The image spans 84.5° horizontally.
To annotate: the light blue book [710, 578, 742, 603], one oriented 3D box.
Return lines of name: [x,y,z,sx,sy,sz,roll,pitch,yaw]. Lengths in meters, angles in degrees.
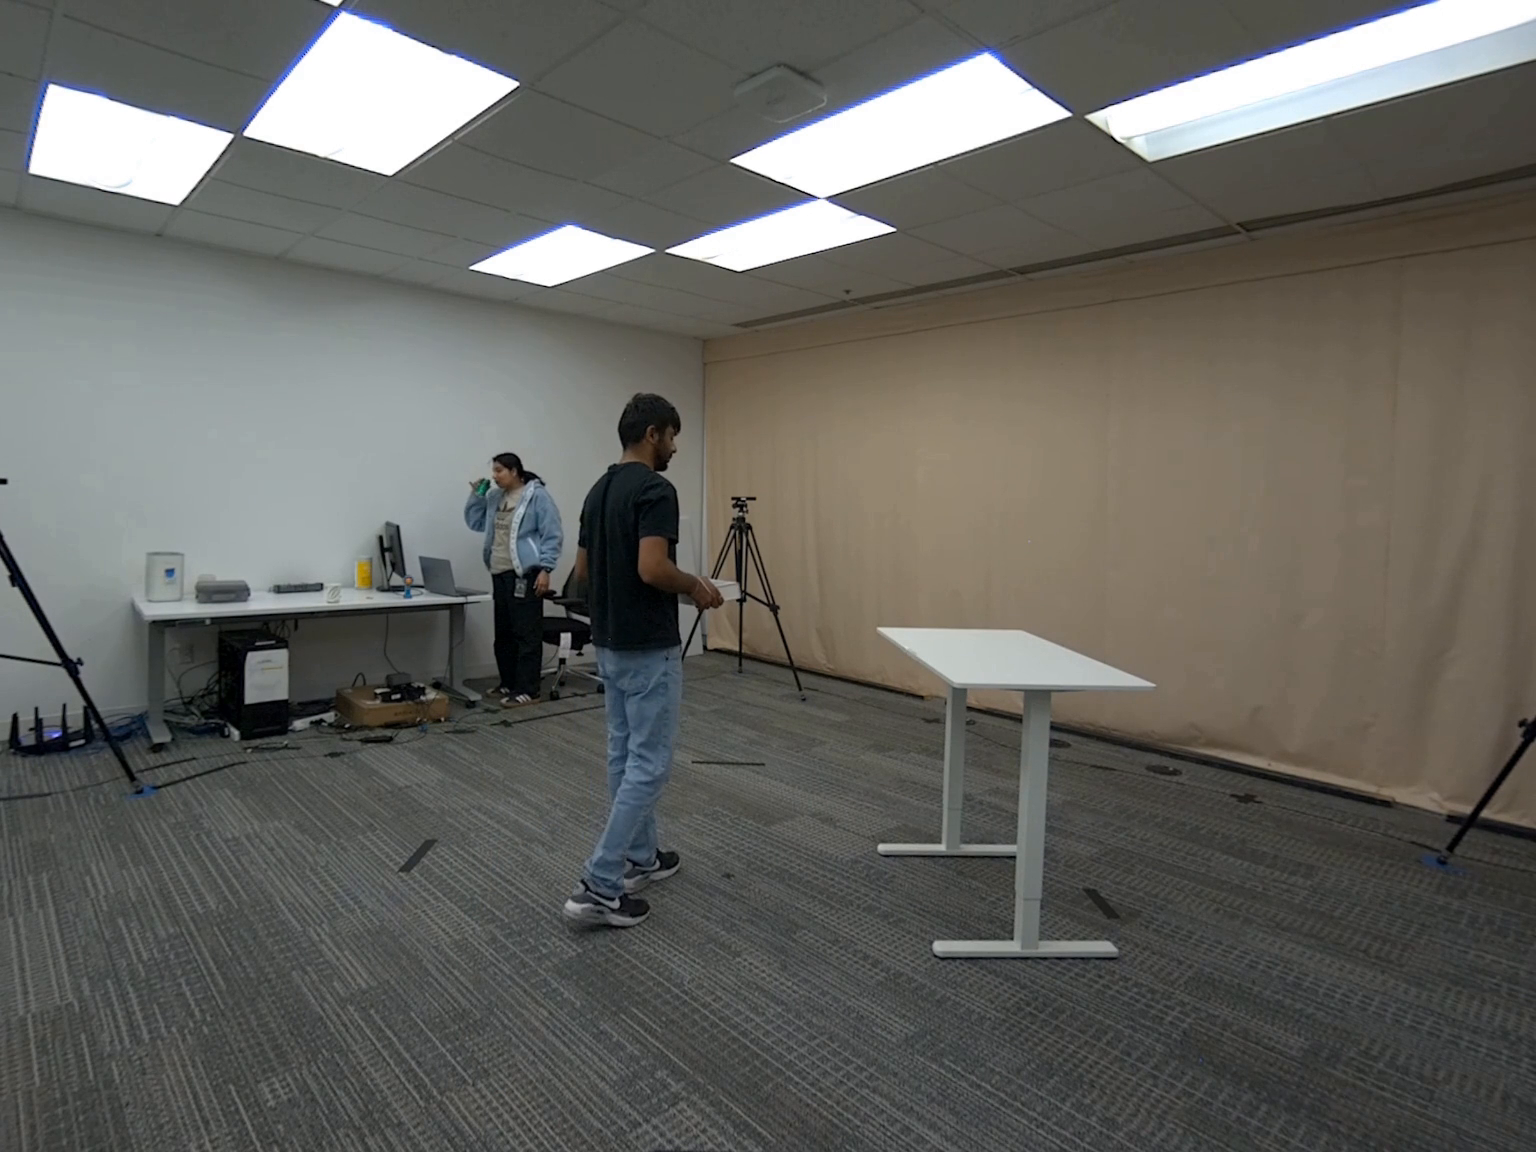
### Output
light blue book: [-0.255,0.057,3.025,0.189,0.059,0.266,-6,7,-20]
